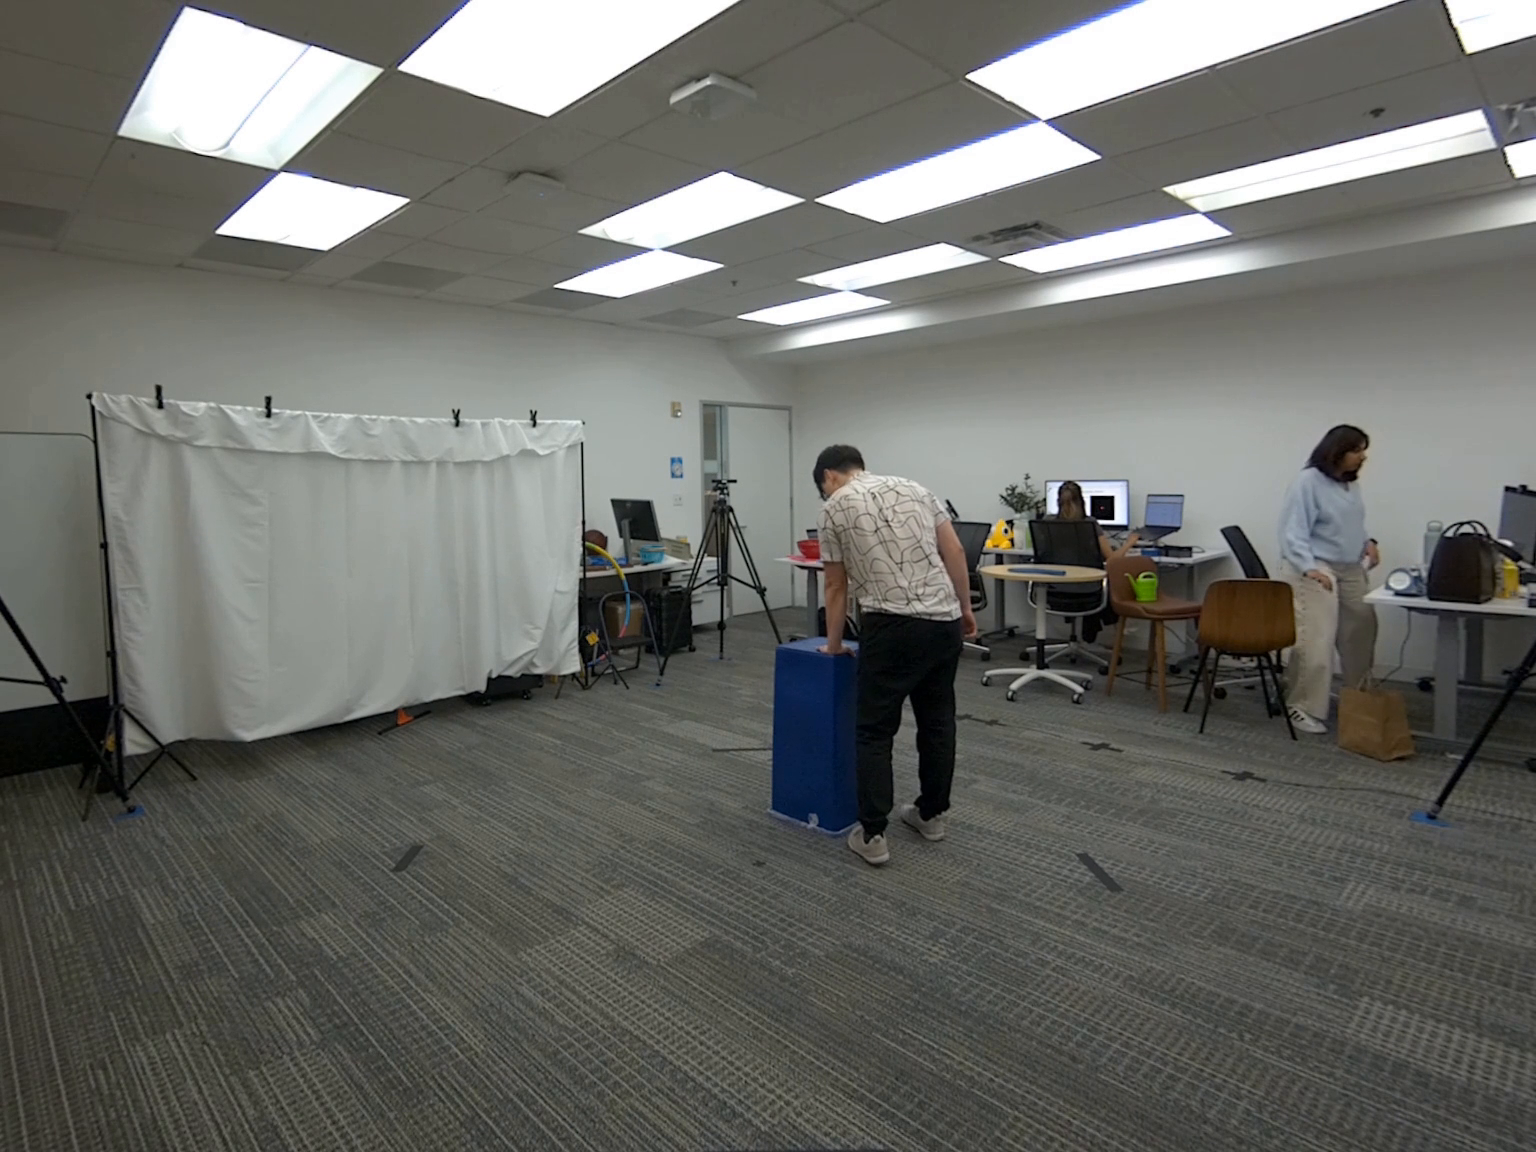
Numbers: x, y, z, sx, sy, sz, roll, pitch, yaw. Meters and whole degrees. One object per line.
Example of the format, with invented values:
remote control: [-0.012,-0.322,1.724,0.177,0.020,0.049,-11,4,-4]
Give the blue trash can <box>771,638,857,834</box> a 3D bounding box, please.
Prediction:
blue trash can: [0.254,0.639,3.547,0.390,0.711,0.364,4,6,43]
